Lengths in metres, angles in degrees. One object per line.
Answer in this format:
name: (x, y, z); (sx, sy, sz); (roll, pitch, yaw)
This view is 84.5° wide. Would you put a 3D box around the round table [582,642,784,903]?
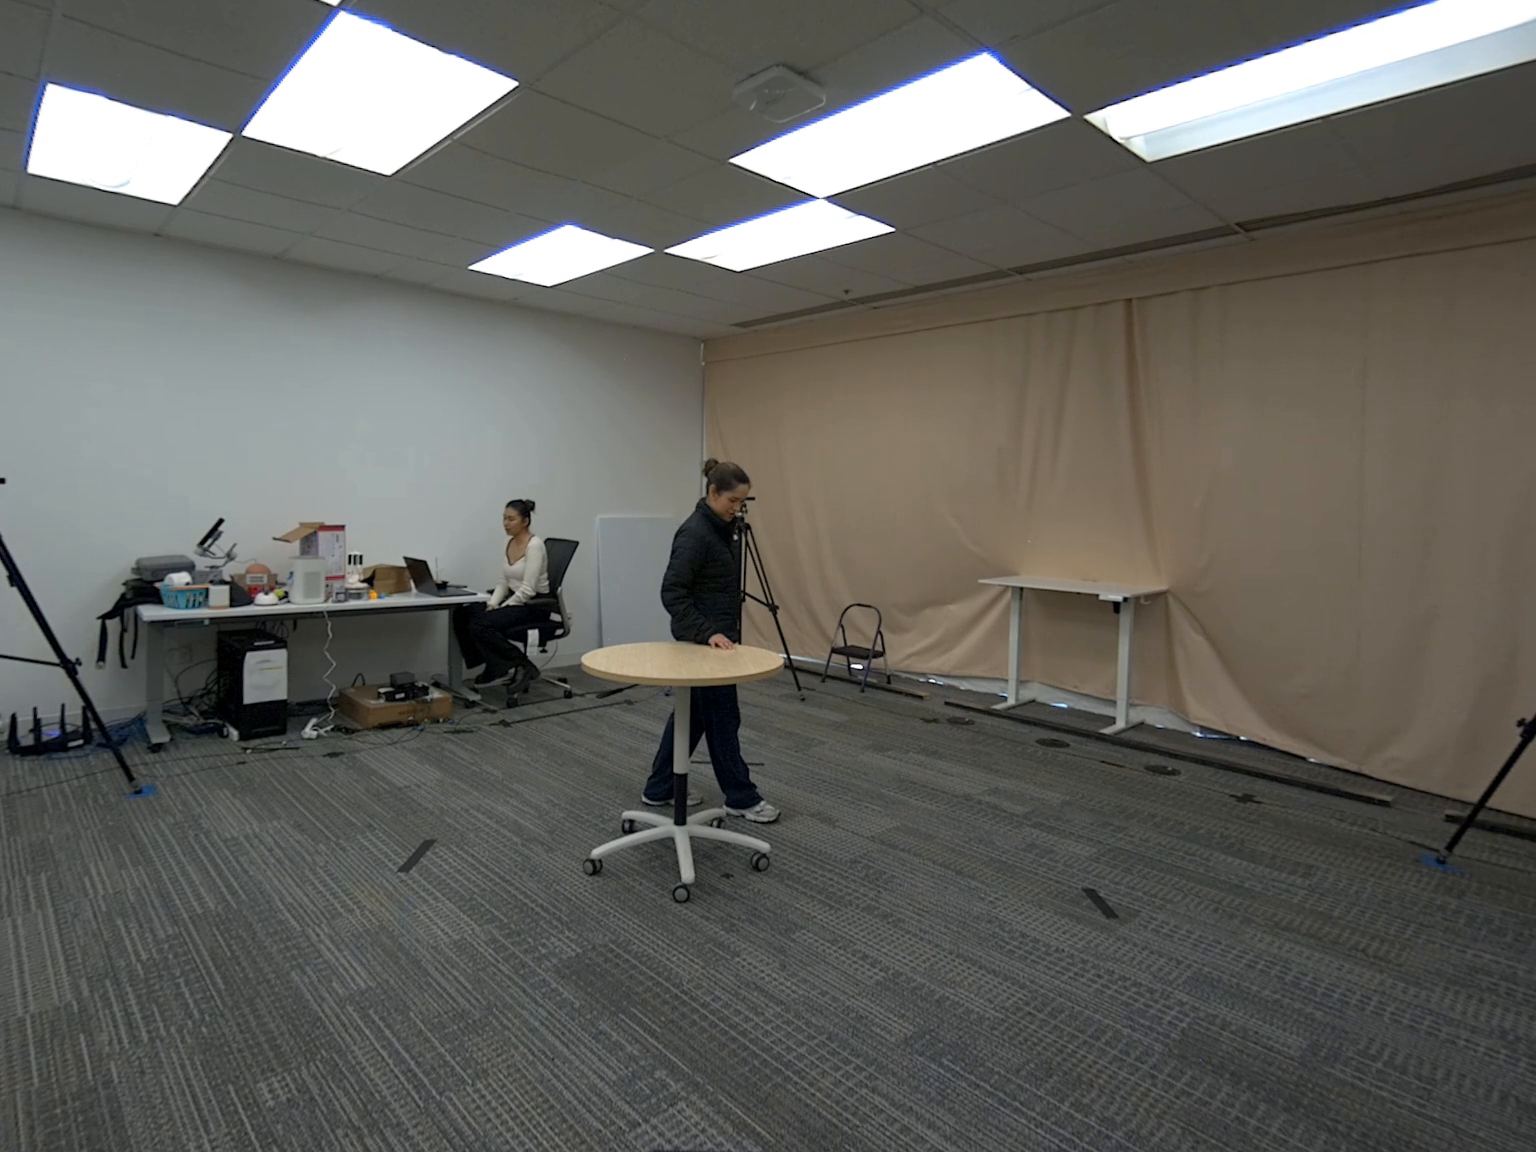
round table: (-0.331, 0.701, 3.204); (0.784, 0.785, 0.787); (1, 4, -1)
